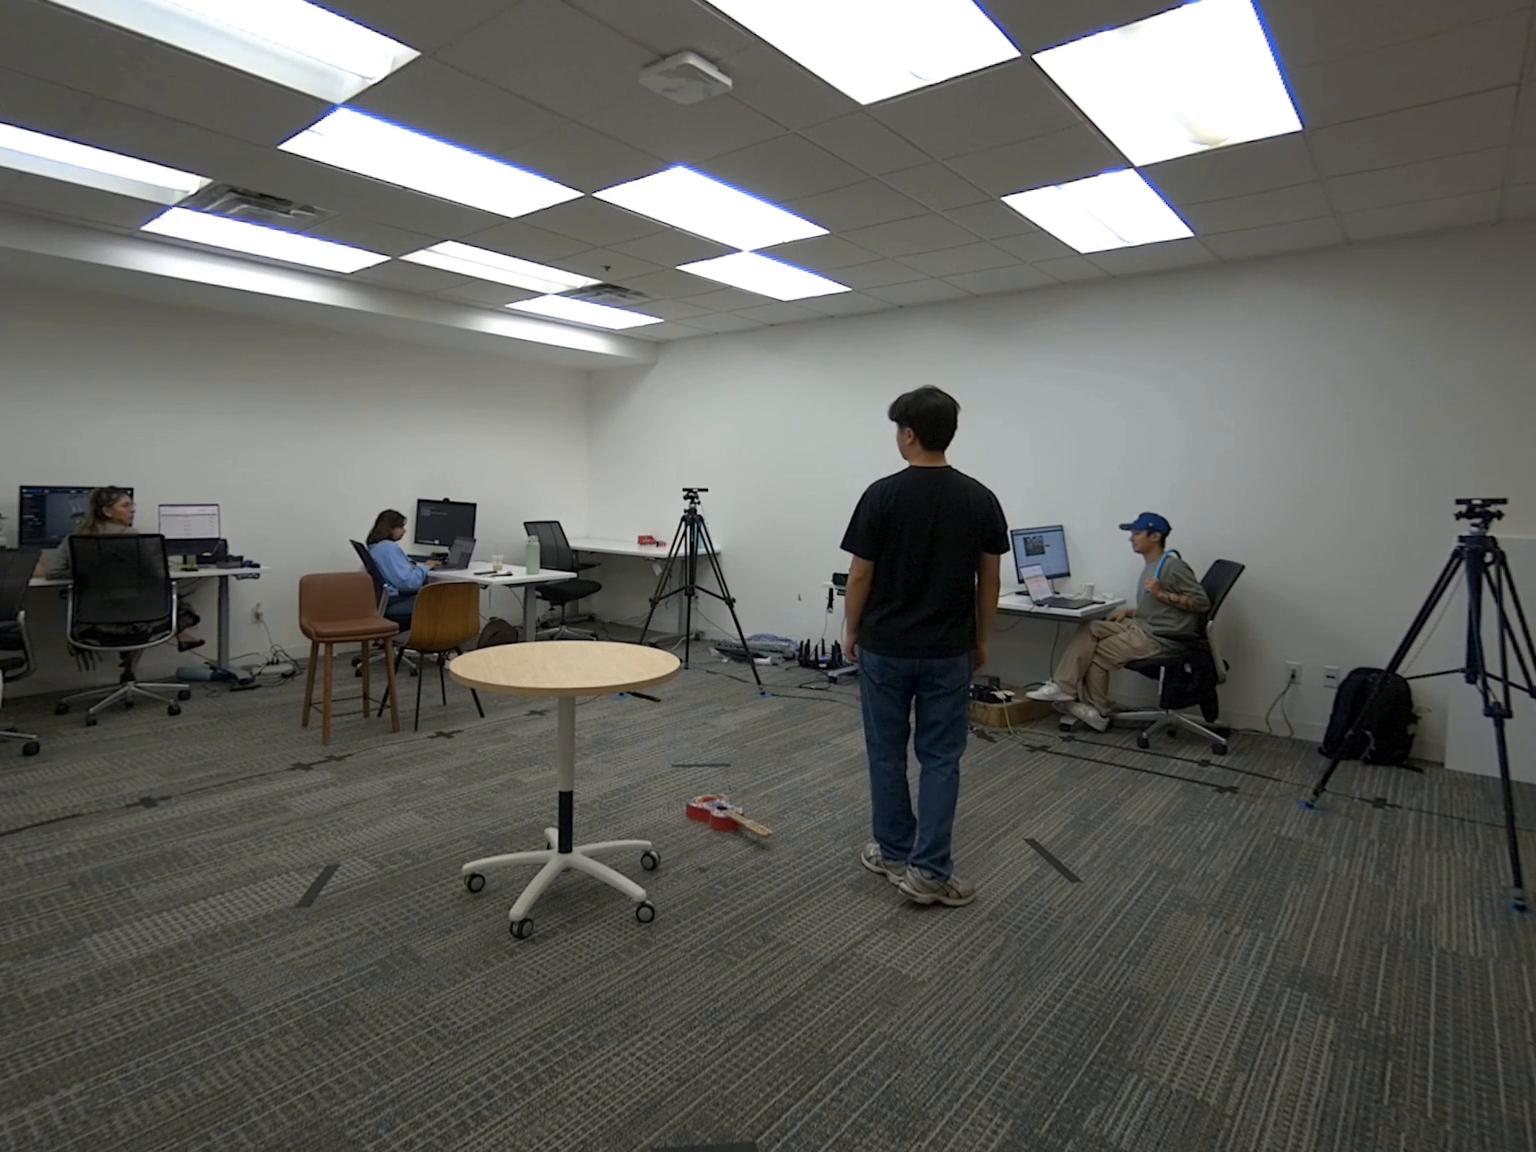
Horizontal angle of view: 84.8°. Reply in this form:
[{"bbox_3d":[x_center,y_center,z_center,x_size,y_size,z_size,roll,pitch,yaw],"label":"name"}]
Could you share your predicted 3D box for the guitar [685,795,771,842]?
[{"bbox_3d":[-0.183,1.000,3.481,0.188,0.070,0.512,-1,5,-27],"label":"guitar"}]
